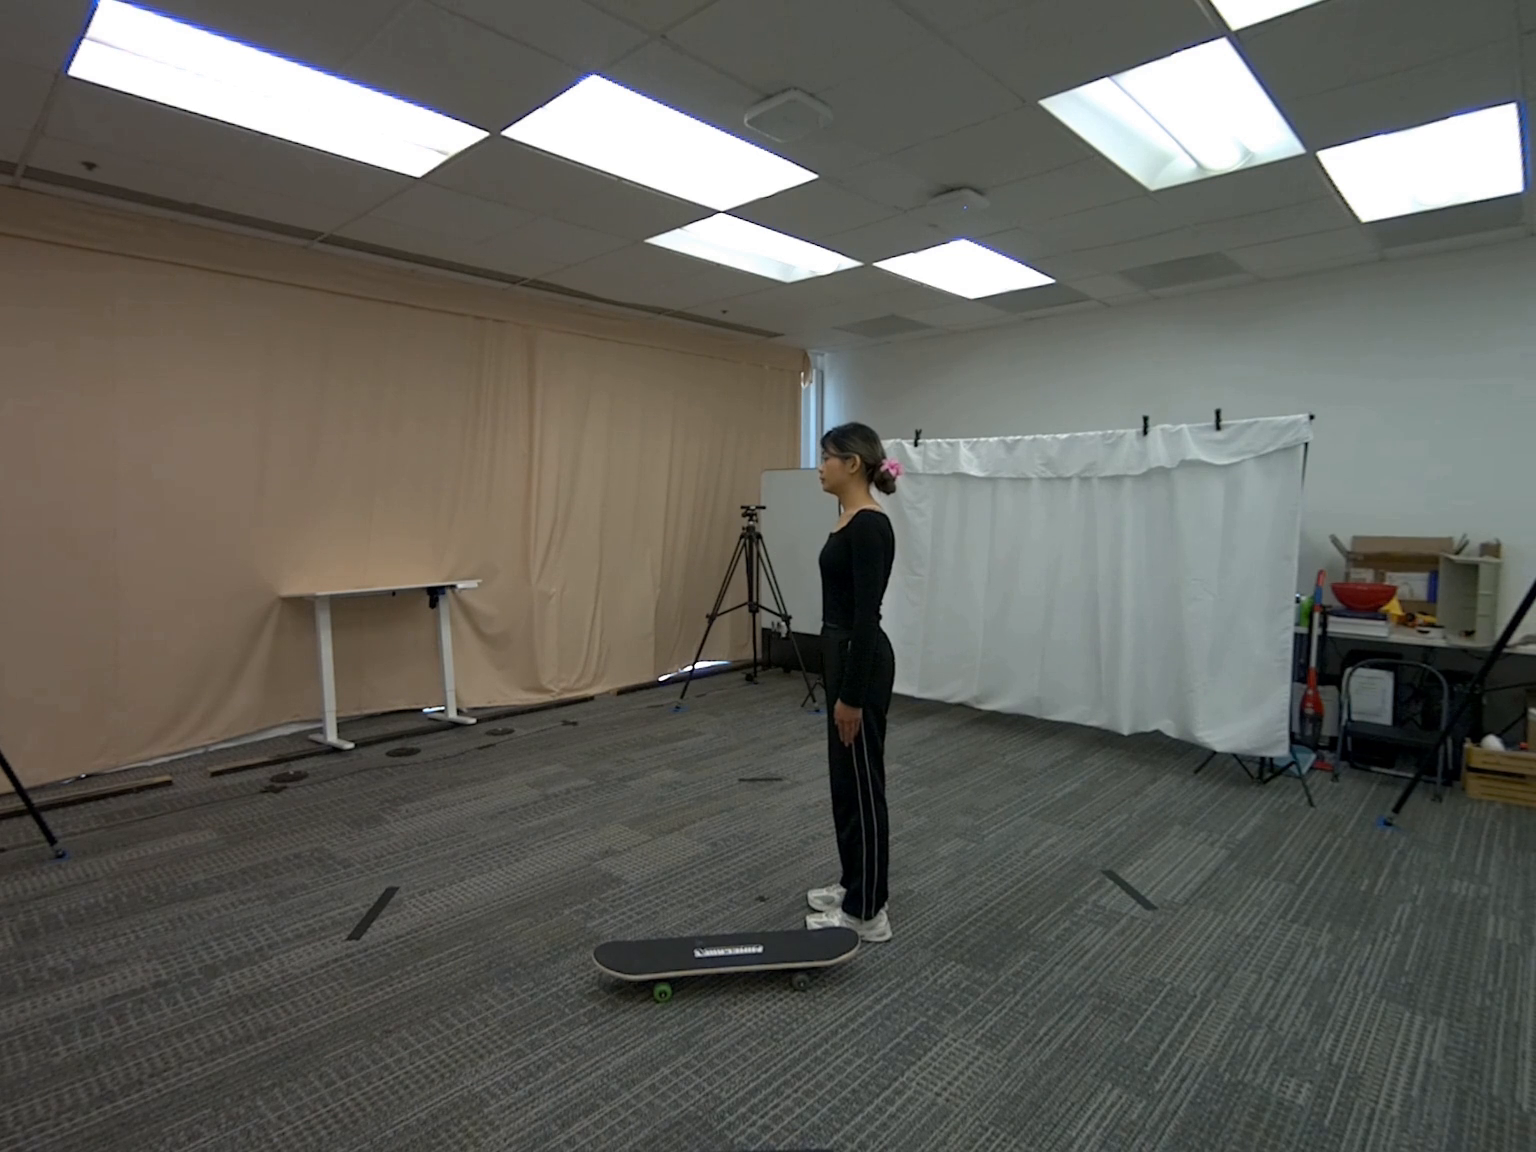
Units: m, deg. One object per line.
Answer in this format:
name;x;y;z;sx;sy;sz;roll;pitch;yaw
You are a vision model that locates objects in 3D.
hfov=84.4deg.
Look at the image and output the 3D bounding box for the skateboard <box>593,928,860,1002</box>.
skateboard;-0.112;1.136;2.462;0.780;0.110;0.195;-1;4;-6
